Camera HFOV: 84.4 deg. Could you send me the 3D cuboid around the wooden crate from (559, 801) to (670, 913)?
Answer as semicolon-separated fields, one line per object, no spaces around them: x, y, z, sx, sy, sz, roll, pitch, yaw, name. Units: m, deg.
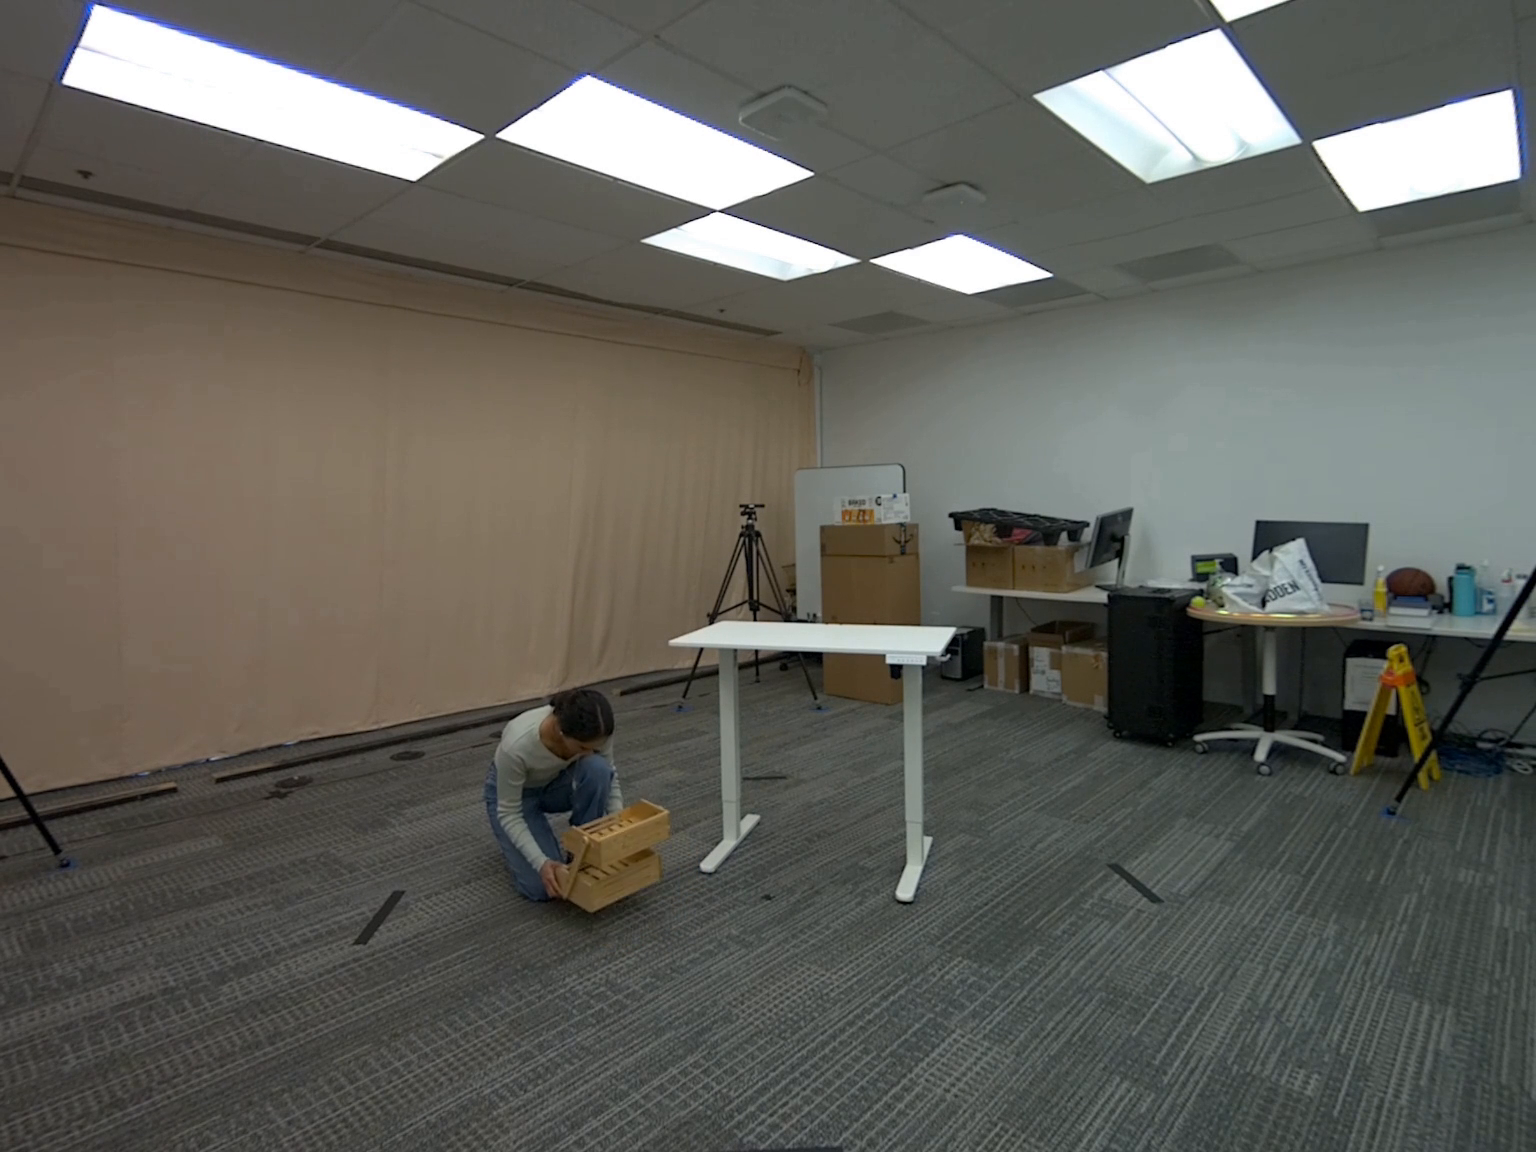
-0.543;0.927;2.854;0.312;0.272;0.315;8;11;43;wooden crate
